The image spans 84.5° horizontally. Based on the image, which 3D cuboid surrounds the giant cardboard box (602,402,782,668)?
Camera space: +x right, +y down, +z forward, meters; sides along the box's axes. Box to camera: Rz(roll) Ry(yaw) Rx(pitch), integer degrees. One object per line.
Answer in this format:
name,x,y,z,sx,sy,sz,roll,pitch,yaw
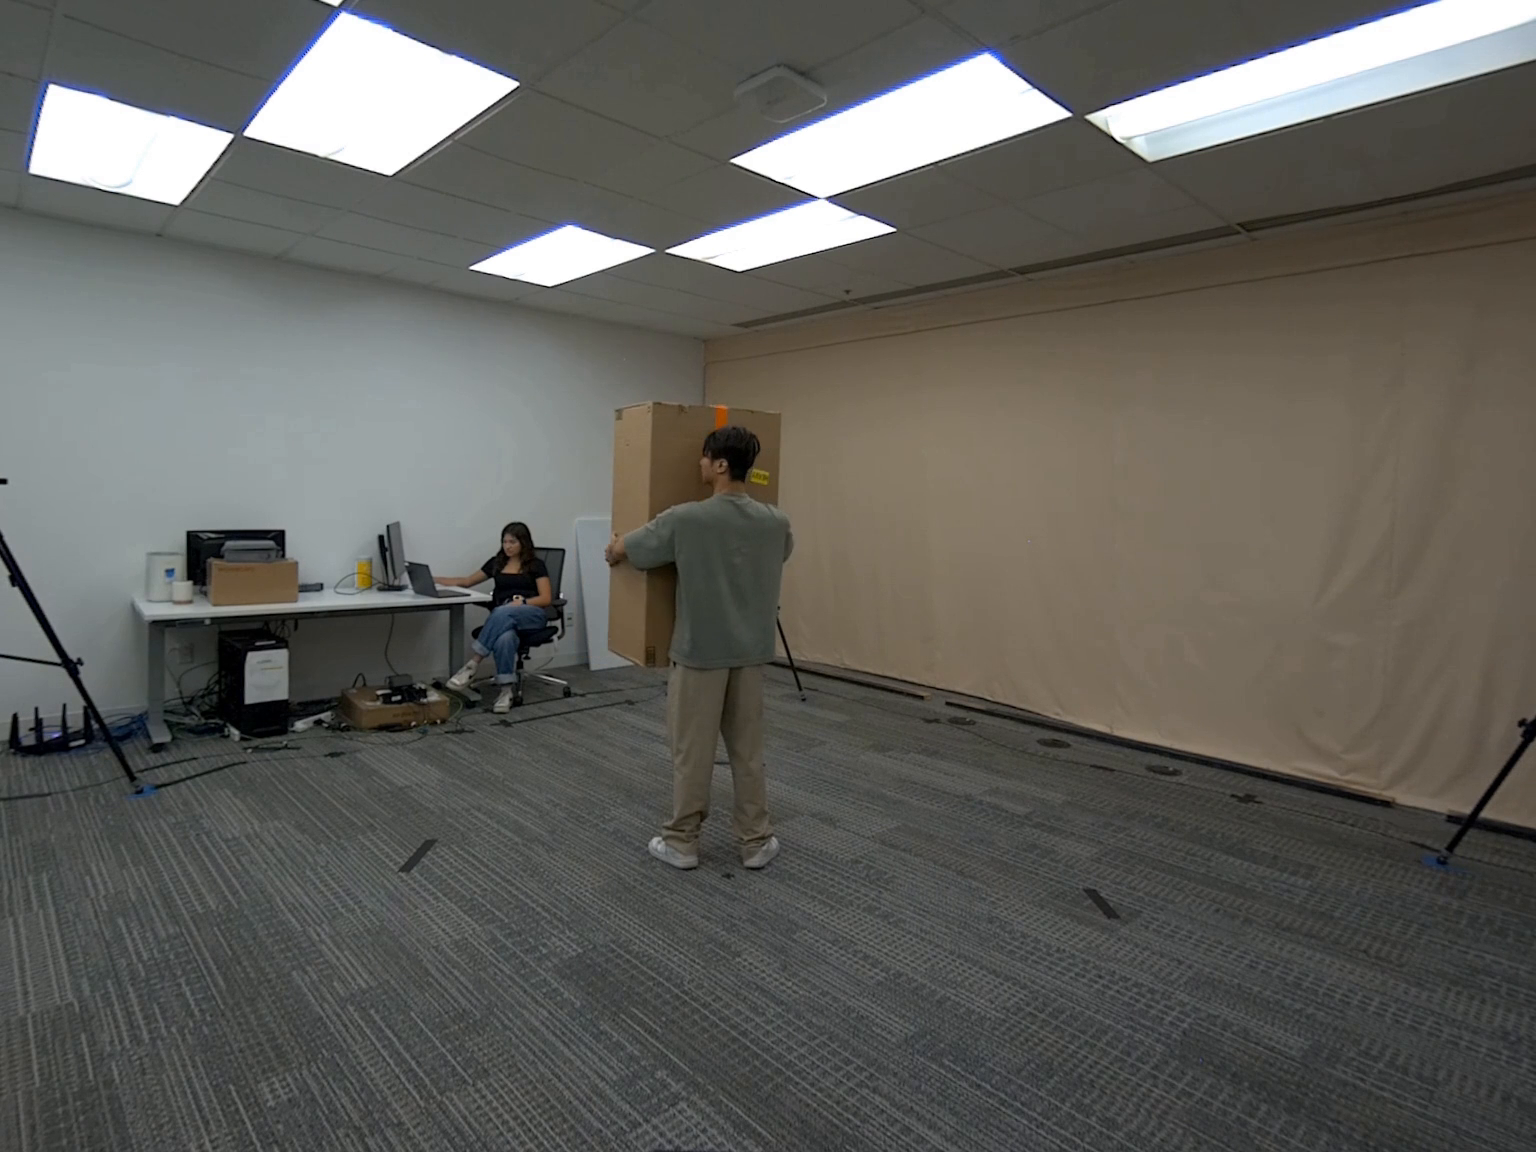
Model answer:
giant cardboard box,-0.317,-0.179,3.510,0.566,1.023,0.436,0,4,-28
